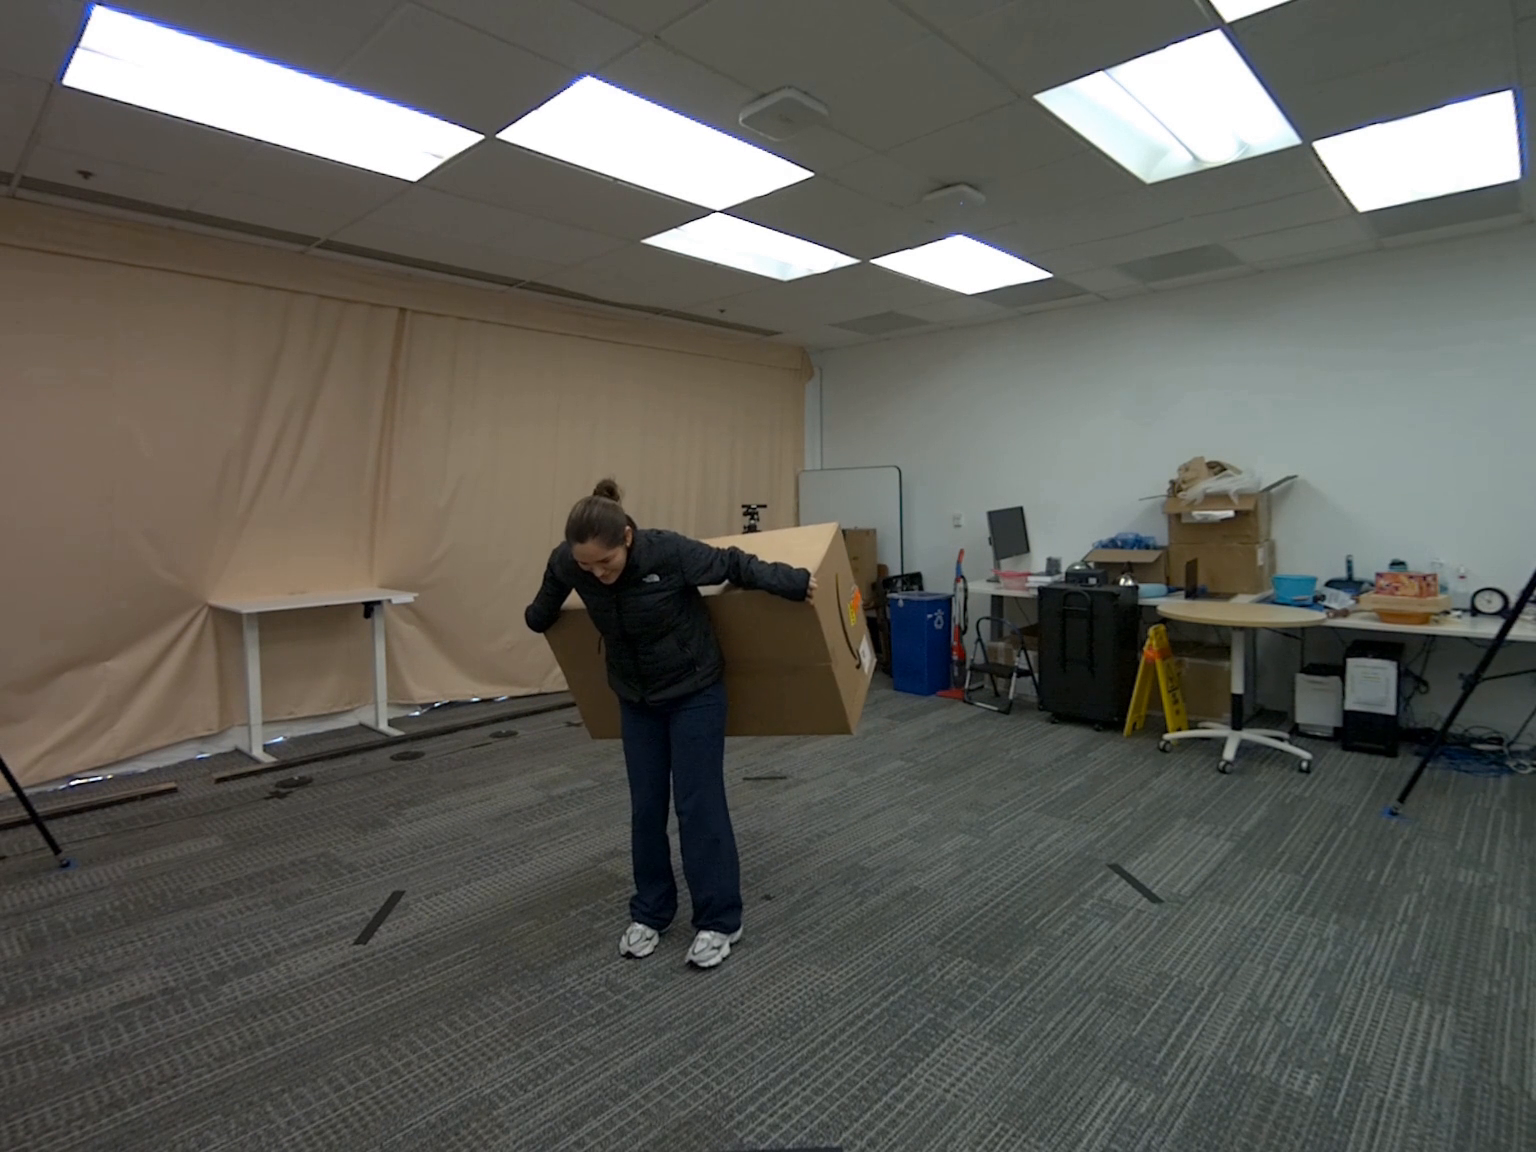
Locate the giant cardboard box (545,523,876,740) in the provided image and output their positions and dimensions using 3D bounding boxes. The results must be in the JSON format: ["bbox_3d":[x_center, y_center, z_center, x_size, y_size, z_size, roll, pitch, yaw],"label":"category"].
[{"bbox_3d":[-0.189,0.222,3.010,1.050,0.566,0.425,-6,26,25],"label":"giant cardboard box"}]
